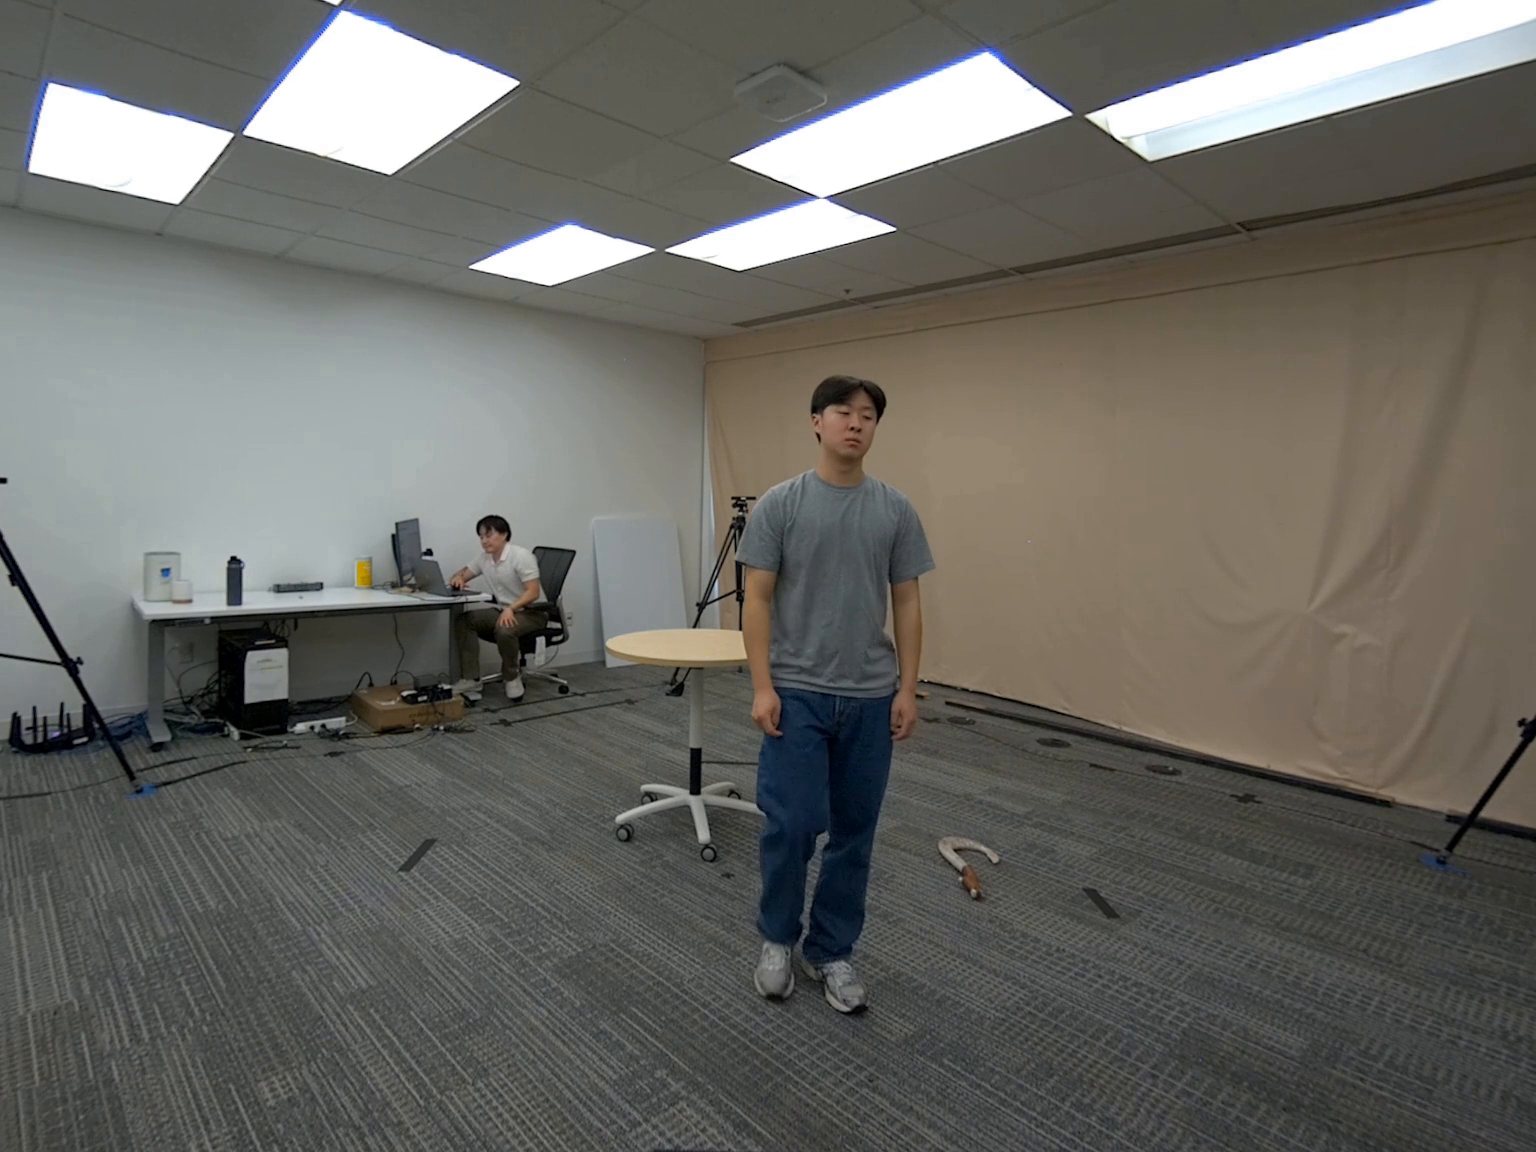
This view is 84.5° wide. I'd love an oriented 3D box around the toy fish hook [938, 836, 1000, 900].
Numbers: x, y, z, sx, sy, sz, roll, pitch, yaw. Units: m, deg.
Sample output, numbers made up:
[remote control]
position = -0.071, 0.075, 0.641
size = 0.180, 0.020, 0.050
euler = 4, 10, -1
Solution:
[toy fish hook]
position = 0.781, 1.099, 3.194
size = 0.225, 0.048, 0.507
euler = 1, 5, 1
